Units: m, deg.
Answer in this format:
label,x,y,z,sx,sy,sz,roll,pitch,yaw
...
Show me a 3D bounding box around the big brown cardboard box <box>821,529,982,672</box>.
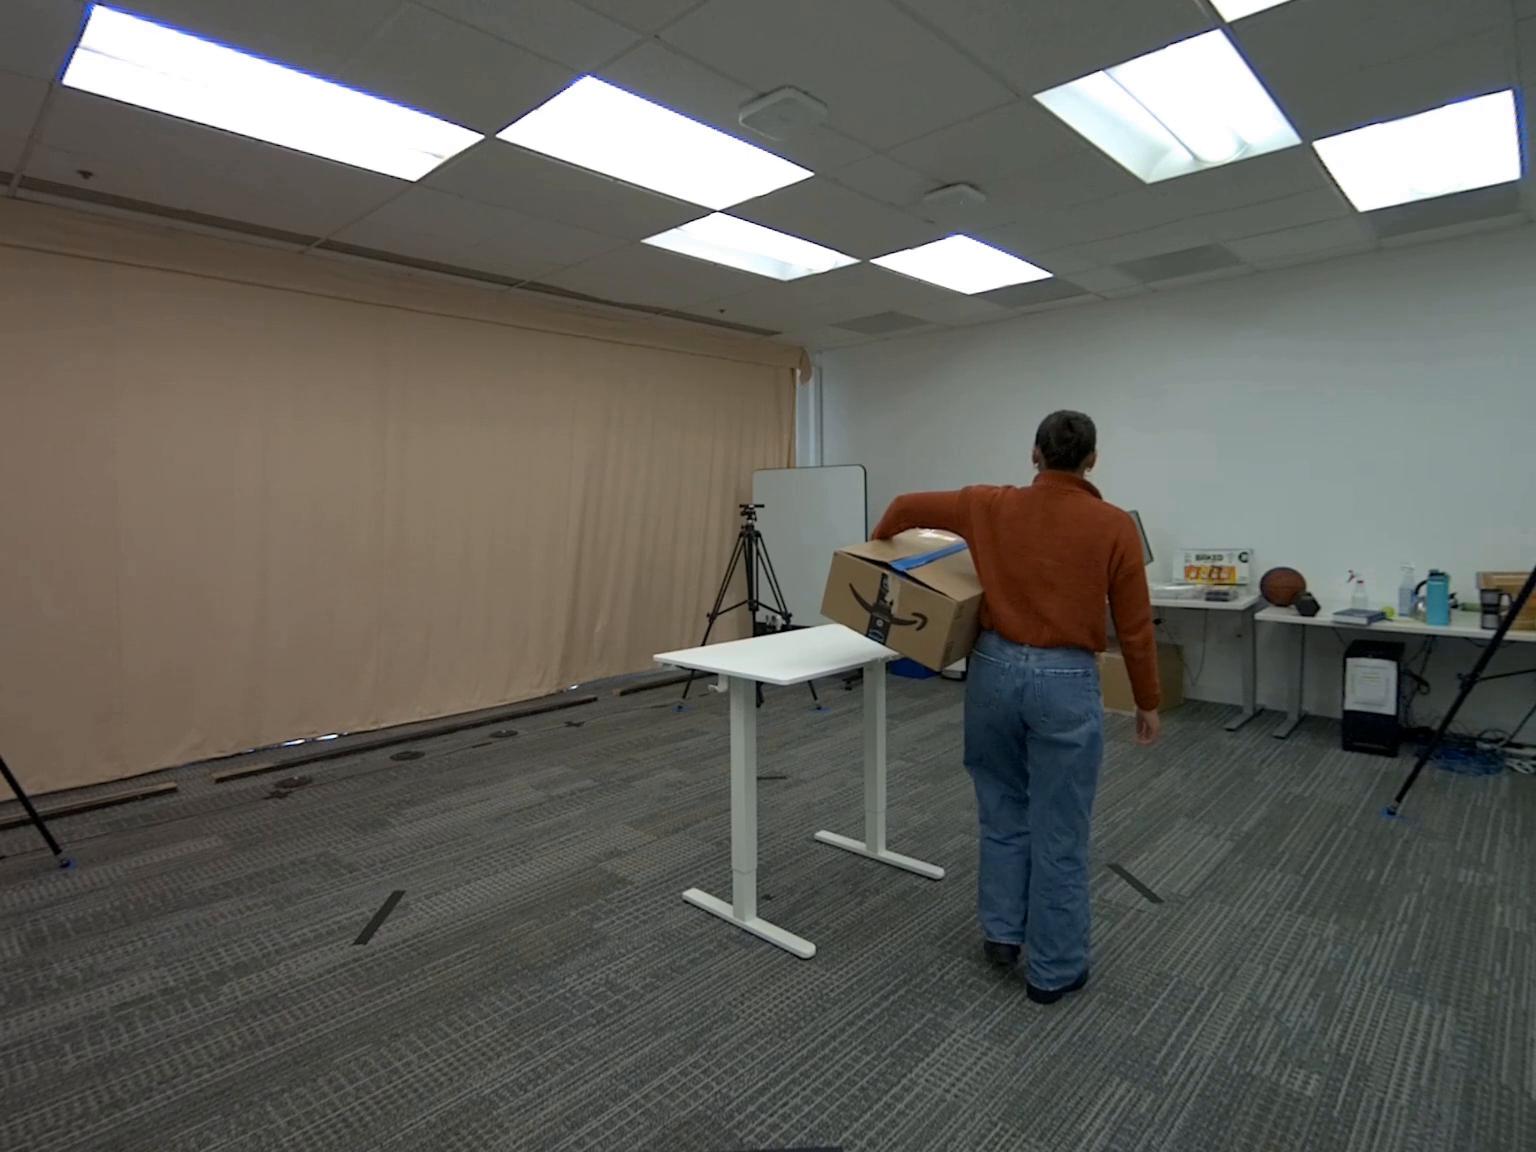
label,x,y,z,sx,sy,sz,roll,pitch,yaw
big brown cardboard box,0.515,0.049,2.623,0.432,0.231,0.573,24,25,34
